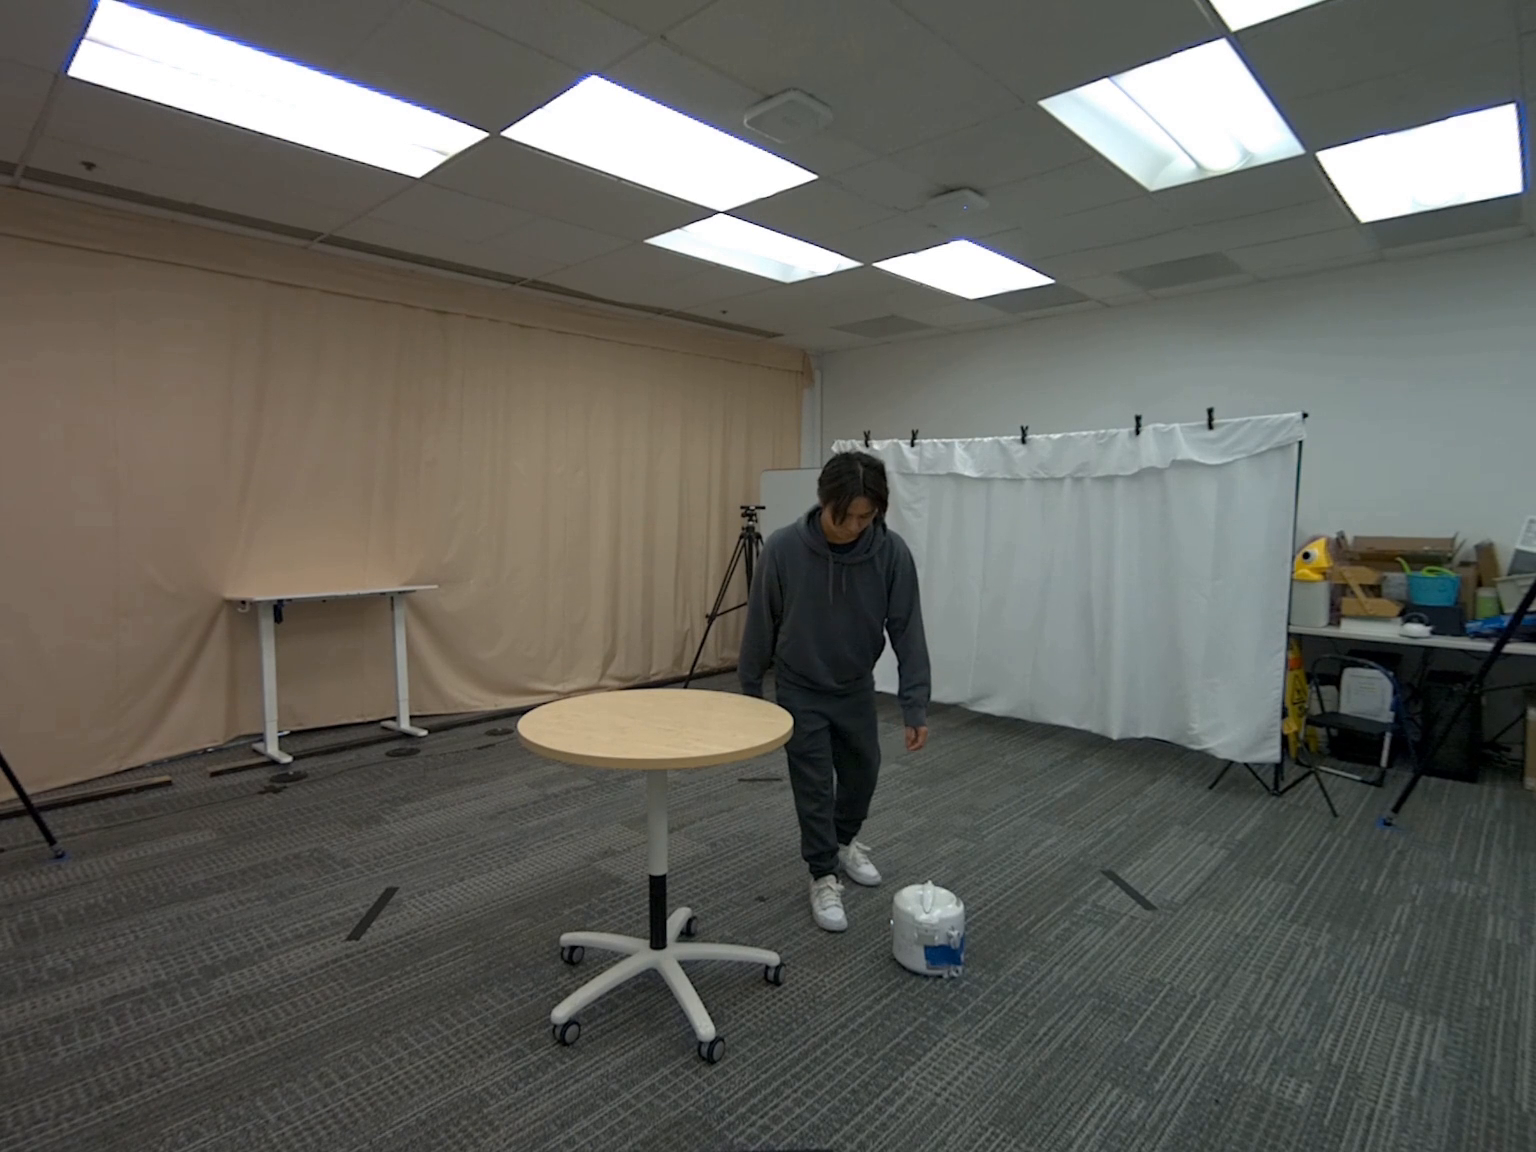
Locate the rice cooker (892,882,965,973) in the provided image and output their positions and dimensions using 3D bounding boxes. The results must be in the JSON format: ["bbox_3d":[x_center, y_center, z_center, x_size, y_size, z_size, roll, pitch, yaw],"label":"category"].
[{"bbox_3d":[0.492,1.063,2.559,0.221,0.232,0.217,1,4,16],"label":"rice cooker"}]
